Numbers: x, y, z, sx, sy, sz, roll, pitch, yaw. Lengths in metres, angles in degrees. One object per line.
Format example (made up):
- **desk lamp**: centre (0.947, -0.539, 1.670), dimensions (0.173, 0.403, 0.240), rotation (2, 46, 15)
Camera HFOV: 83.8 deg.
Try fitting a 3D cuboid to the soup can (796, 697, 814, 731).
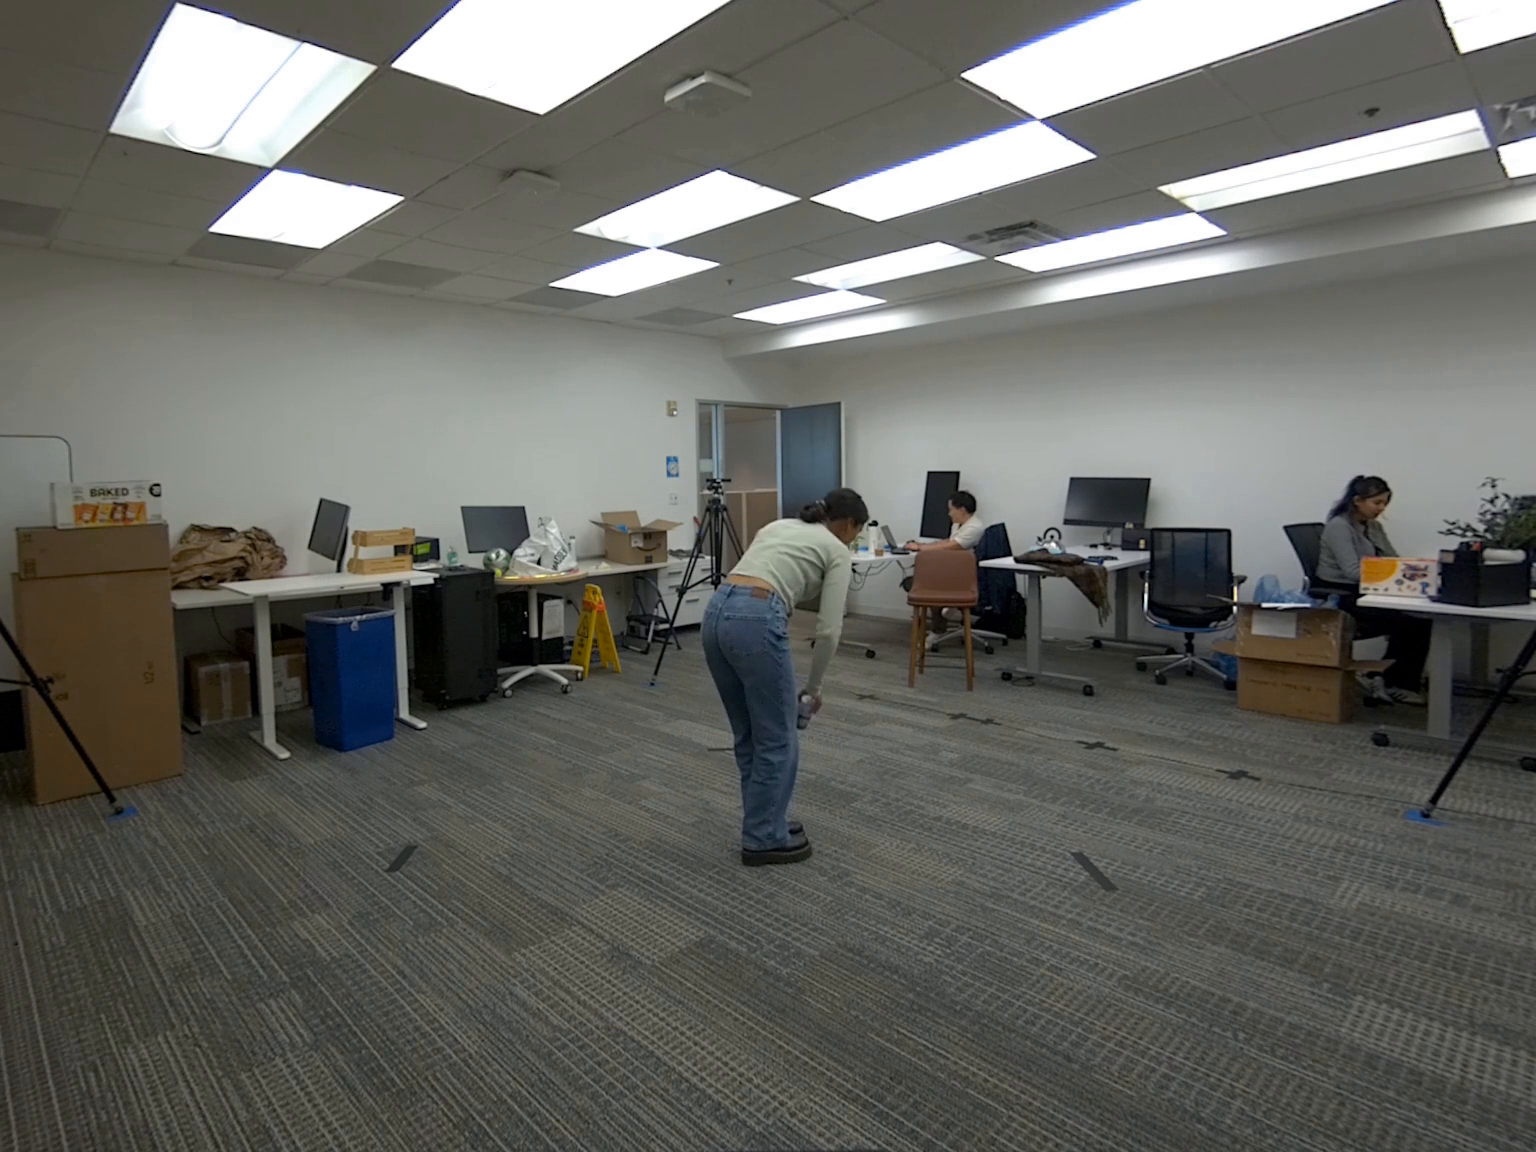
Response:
- **soup can**: centre (0.129, 0.566, 3.286), dimensions (0.067, 0.120, 0.068), rotation (0, 16, -2)
